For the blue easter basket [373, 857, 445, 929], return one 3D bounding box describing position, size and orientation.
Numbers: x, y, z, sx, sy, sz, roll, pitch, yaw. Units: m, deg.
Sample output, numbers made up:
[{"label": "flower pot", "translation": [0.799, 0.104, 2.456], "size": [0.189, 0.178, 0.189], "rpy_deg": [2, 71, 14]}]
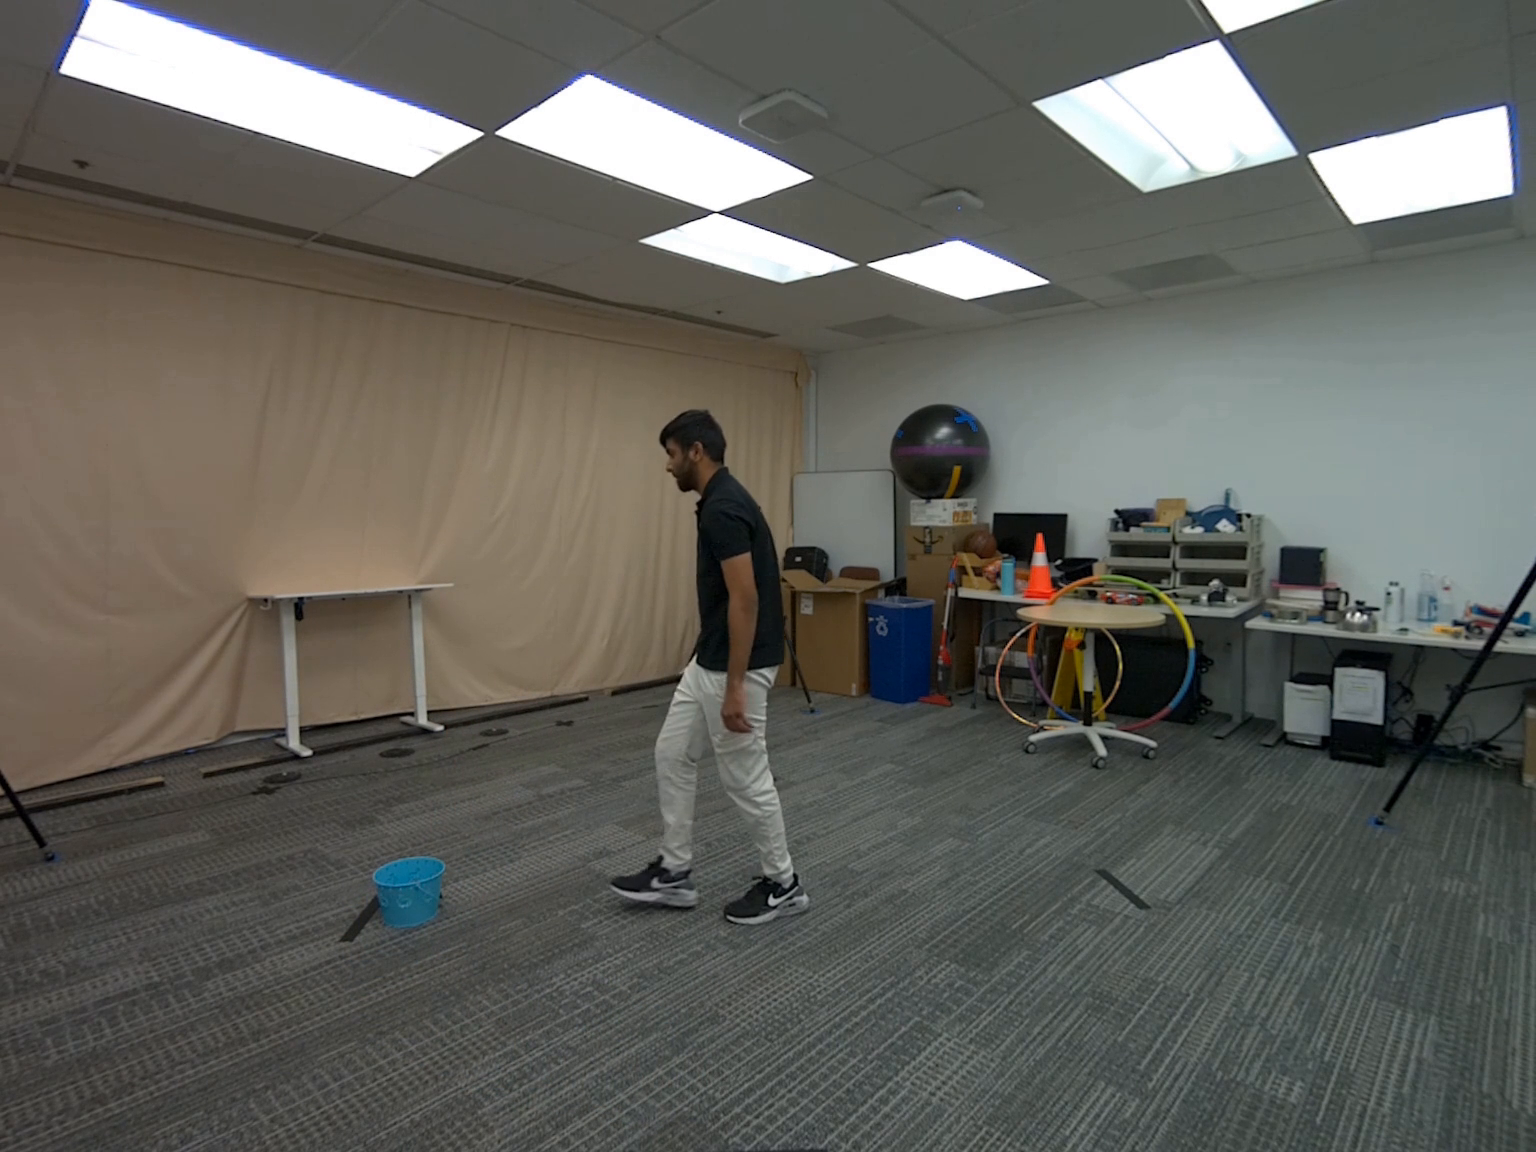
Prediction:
[{"label": "blue easter basket", "translation": [-1.225, 1.087, 2.886], "size": [0.243, 0.155, 0.244], "rpy_deg": [0, 4, -2]}]
